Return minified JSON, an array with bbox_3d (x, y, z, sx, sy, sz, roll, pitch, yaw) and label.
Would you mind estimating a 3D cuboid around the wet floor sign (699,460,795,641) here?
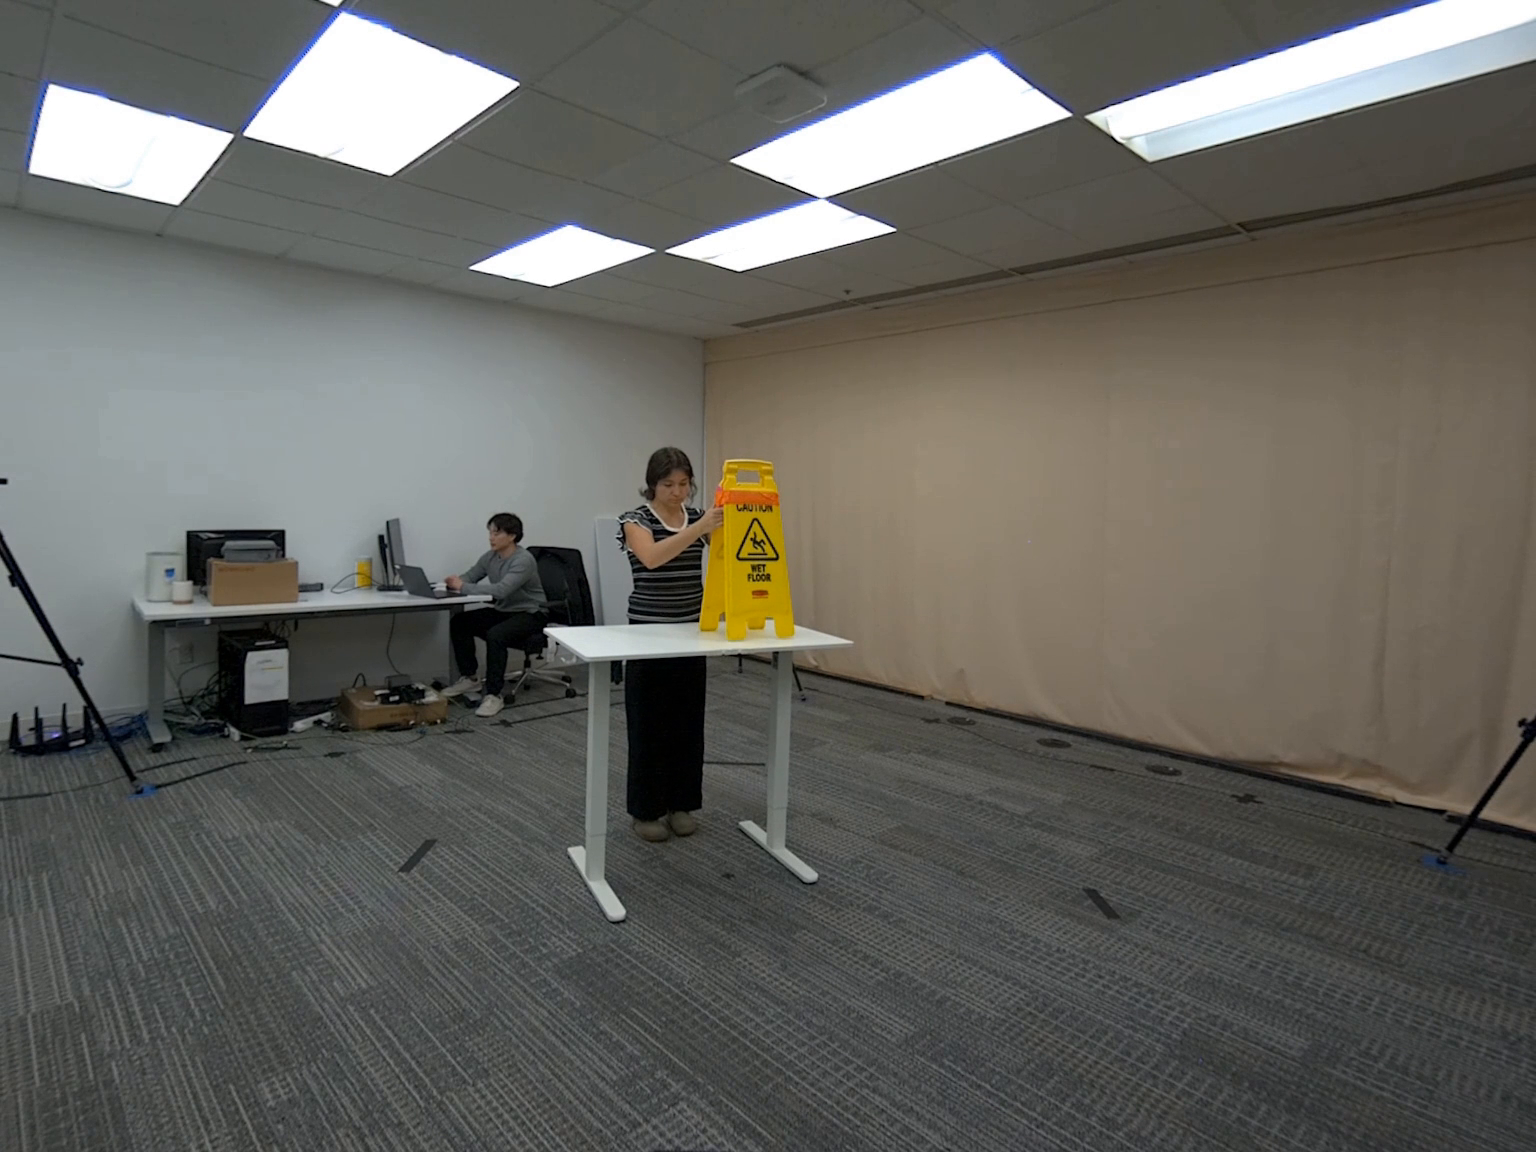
[{"bbox_3d":[-0.082,-0.104,3.151,0.277,0.645,0.296,-1,3,-27],"label":"wet floor sign"}]
